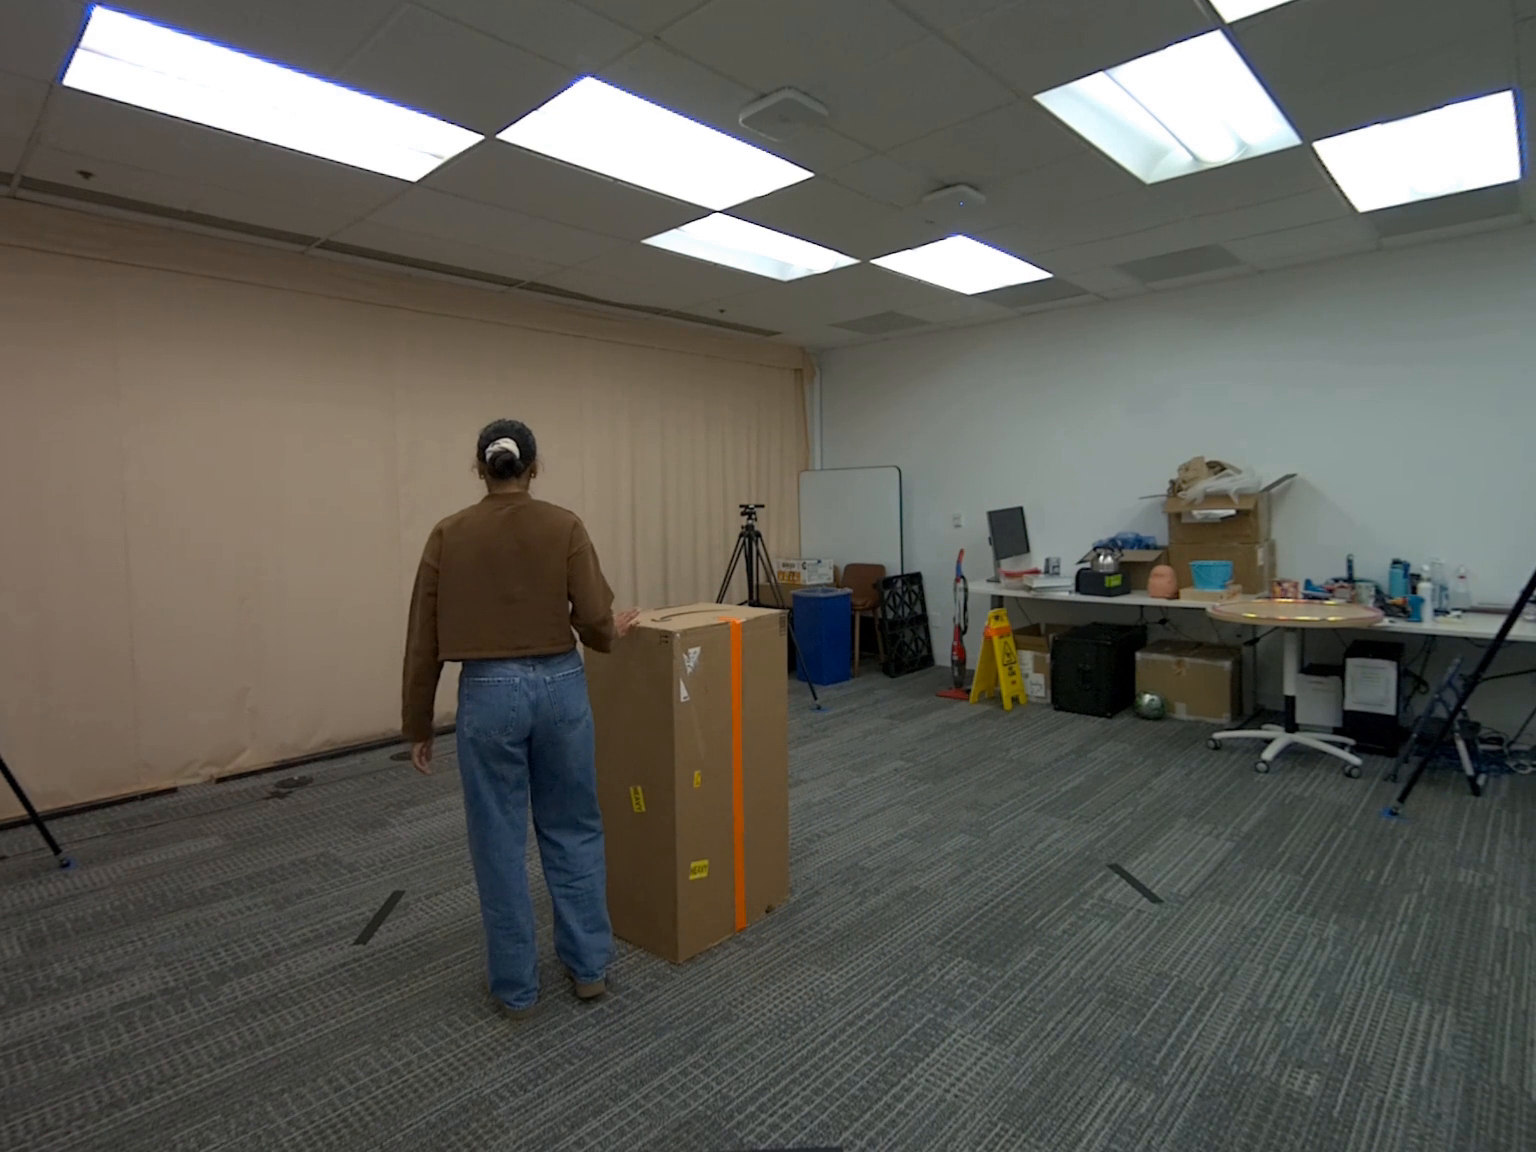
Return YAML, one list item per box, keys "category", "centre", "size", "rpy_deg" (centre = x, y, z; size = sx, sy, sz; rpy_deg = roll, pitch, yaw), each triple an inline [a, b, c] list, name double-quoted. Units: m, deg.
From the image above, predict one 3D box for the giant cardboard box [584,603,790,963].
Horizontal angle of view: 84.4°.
- category: "giant cardboard box"
  centre: [-0.261, 0.644, 2.878]
  size: [0.440, 1.024, 0.560]
  rpy_deg: [2, 4, 40]
